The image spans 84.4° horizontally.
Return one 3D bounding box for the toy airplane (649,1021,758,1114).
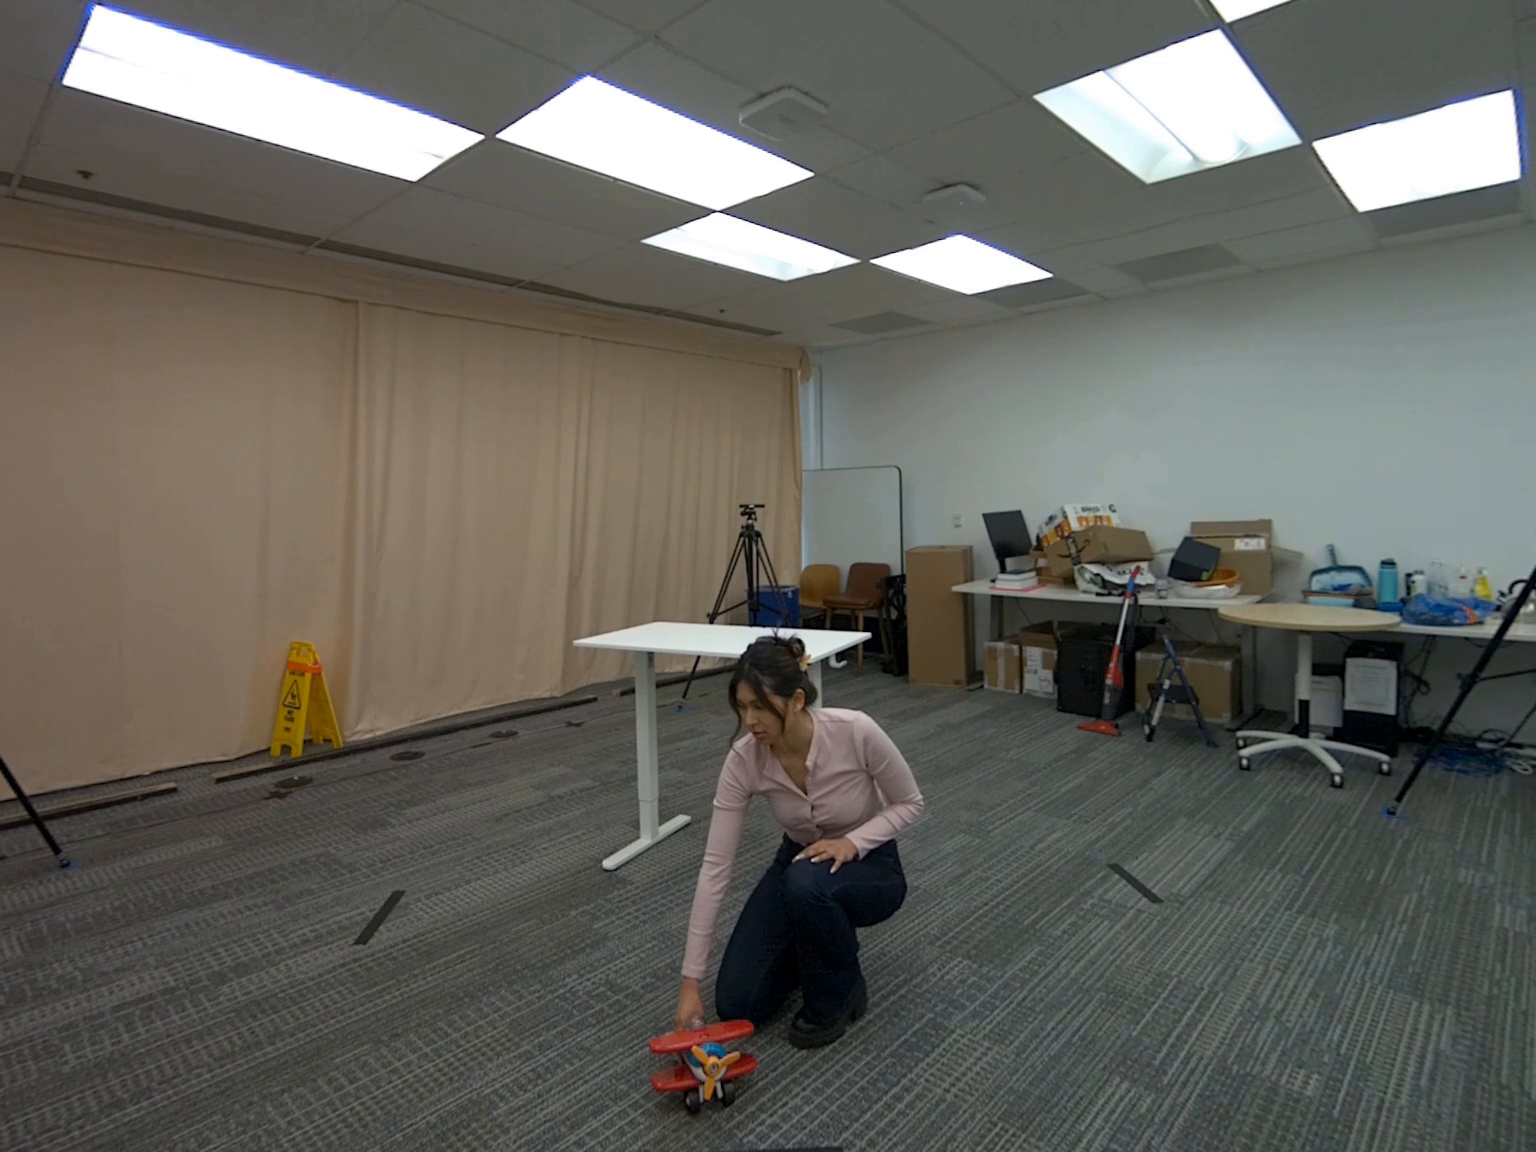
[{"bbox_3d":[-0.175,1.160,2.014,0.268,0.156,0.243,4,7,42],"label":"toy airplane"}]
